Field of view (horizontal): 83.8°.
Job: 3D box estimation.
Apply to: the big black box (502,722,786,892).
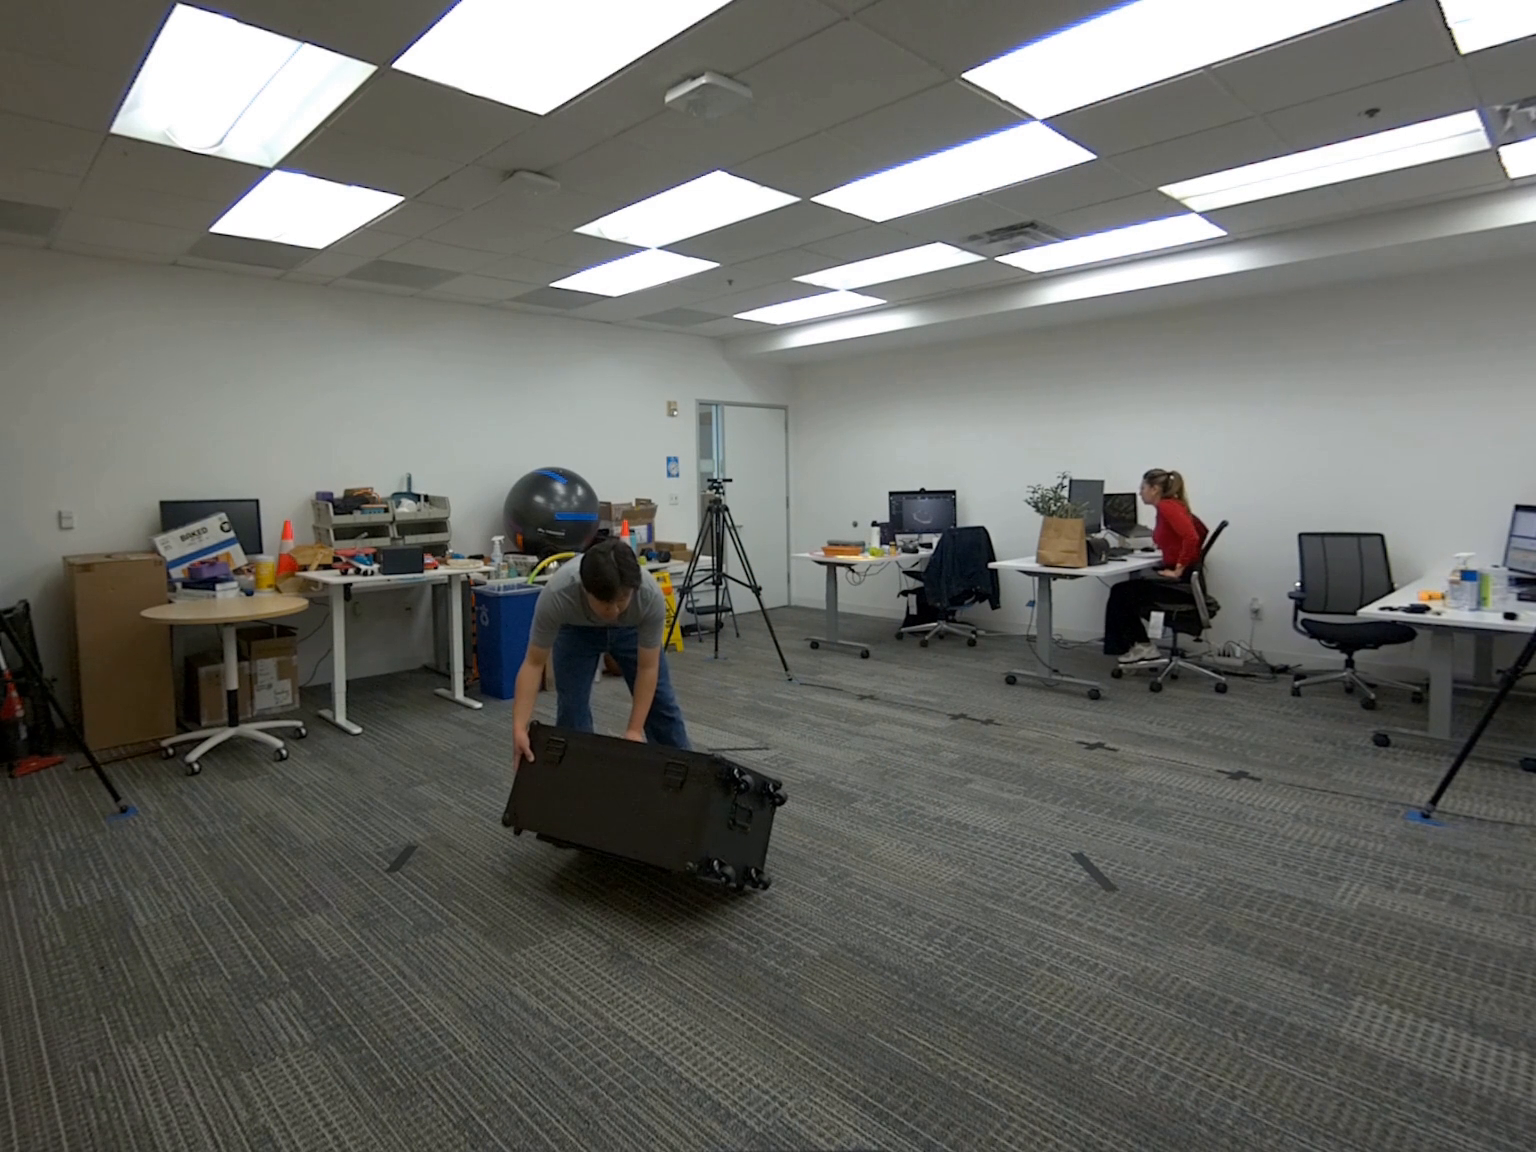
[{"bbox_3d":[-0.404,0.799,2.938,0.884,0.401,0.501,2,-23,29],"label":"big black box"}]
